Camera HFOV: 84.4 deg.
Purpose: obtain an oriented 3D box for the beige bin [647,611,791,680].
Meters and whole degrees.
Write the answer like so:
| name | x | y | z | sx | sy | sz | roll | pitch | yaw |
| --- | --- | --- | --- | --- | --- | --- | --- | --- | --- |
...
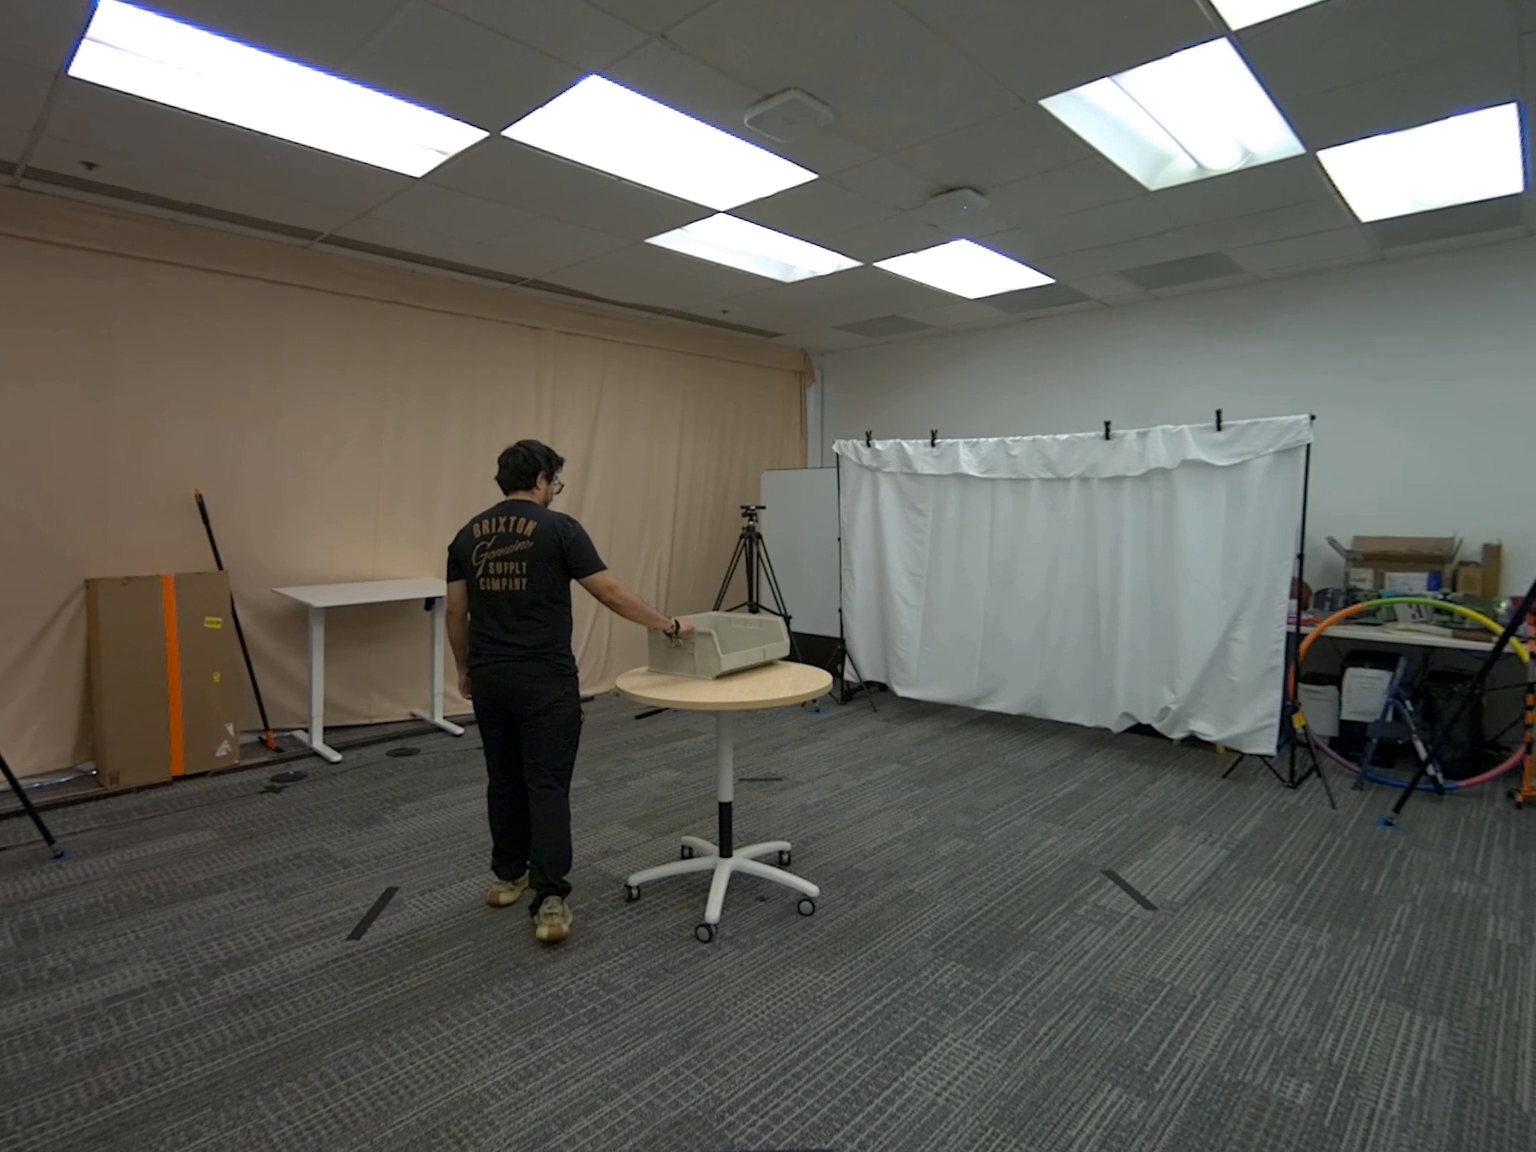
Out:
| name | x | y | z | sx | sy | sz | roll | pitch | yaw |
| --- | --- | --- | --- | --- | --- | --- | --- | --- | --- |
| beige bin | -0.185 | 0.258 | 3.174 | 0.389 | 0.188 | 0.410 | 1 | 5 | 38 |
